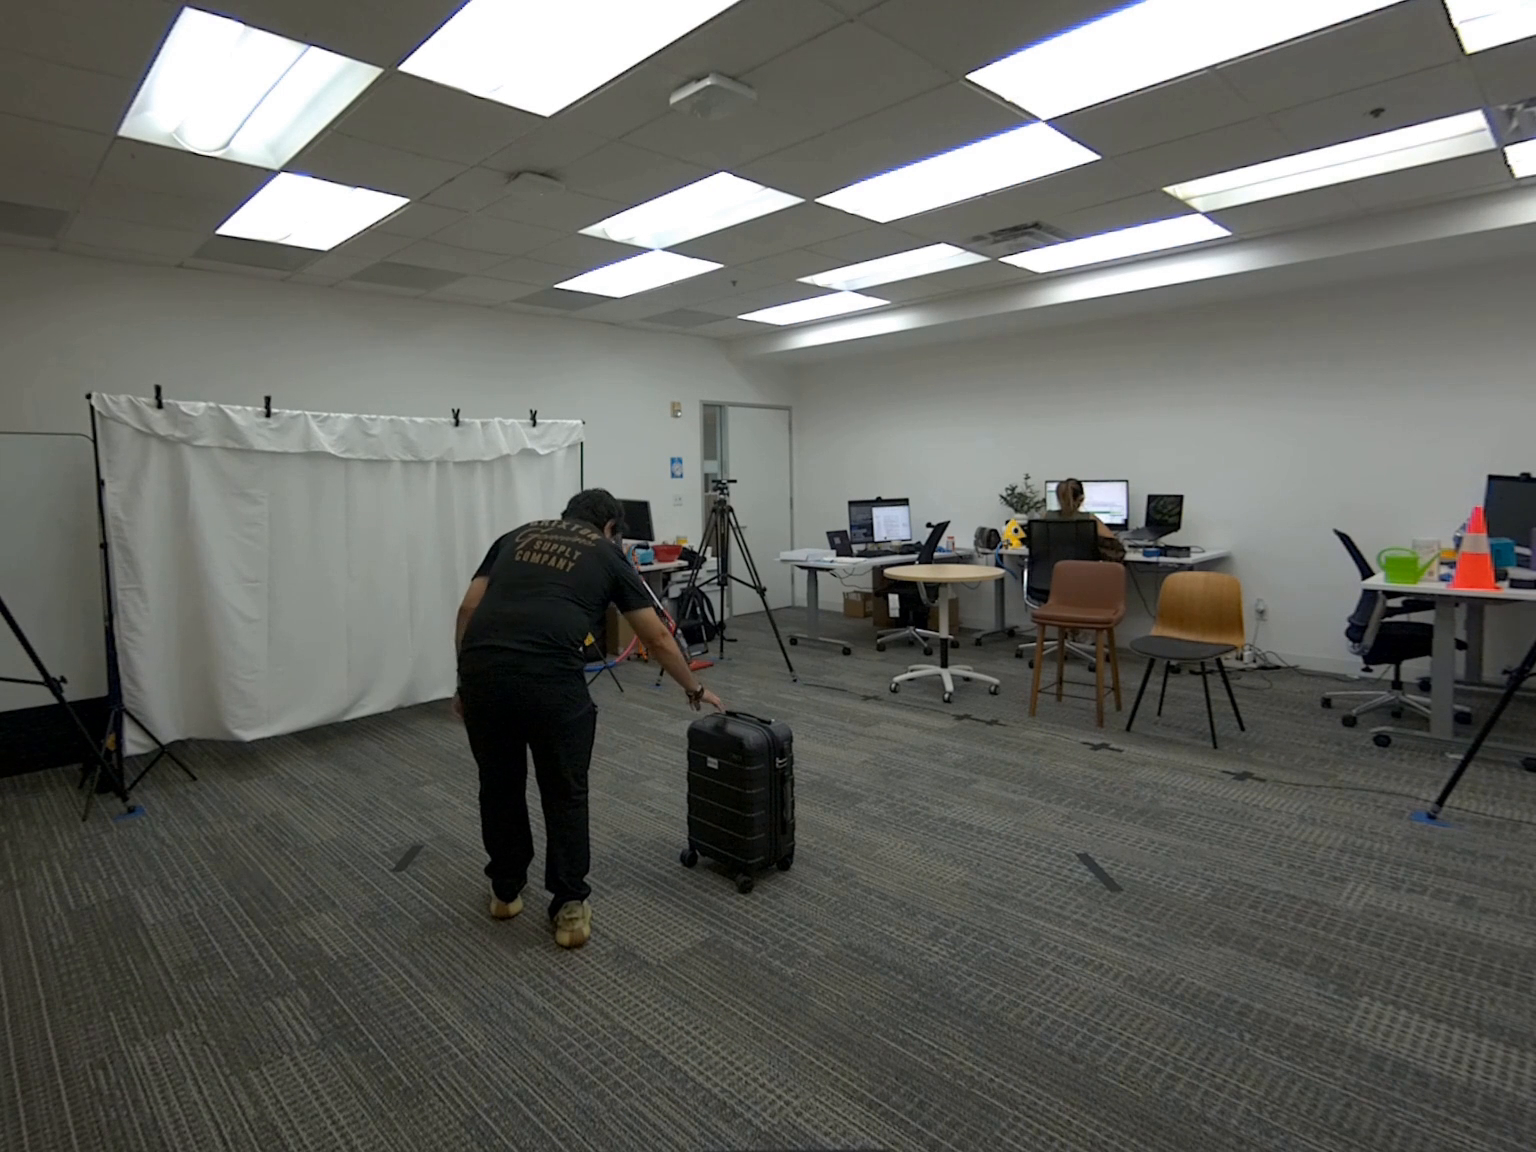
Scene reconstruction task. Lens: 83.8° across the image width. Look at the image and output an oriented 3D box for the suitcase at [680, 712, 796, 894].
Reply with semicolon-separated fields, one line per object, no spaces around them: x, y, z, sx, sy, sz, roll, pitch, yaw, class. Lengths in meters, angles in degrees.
-0.098;0.778;3.069;0.387;0.547;0.241;5;6;44;suitcase
